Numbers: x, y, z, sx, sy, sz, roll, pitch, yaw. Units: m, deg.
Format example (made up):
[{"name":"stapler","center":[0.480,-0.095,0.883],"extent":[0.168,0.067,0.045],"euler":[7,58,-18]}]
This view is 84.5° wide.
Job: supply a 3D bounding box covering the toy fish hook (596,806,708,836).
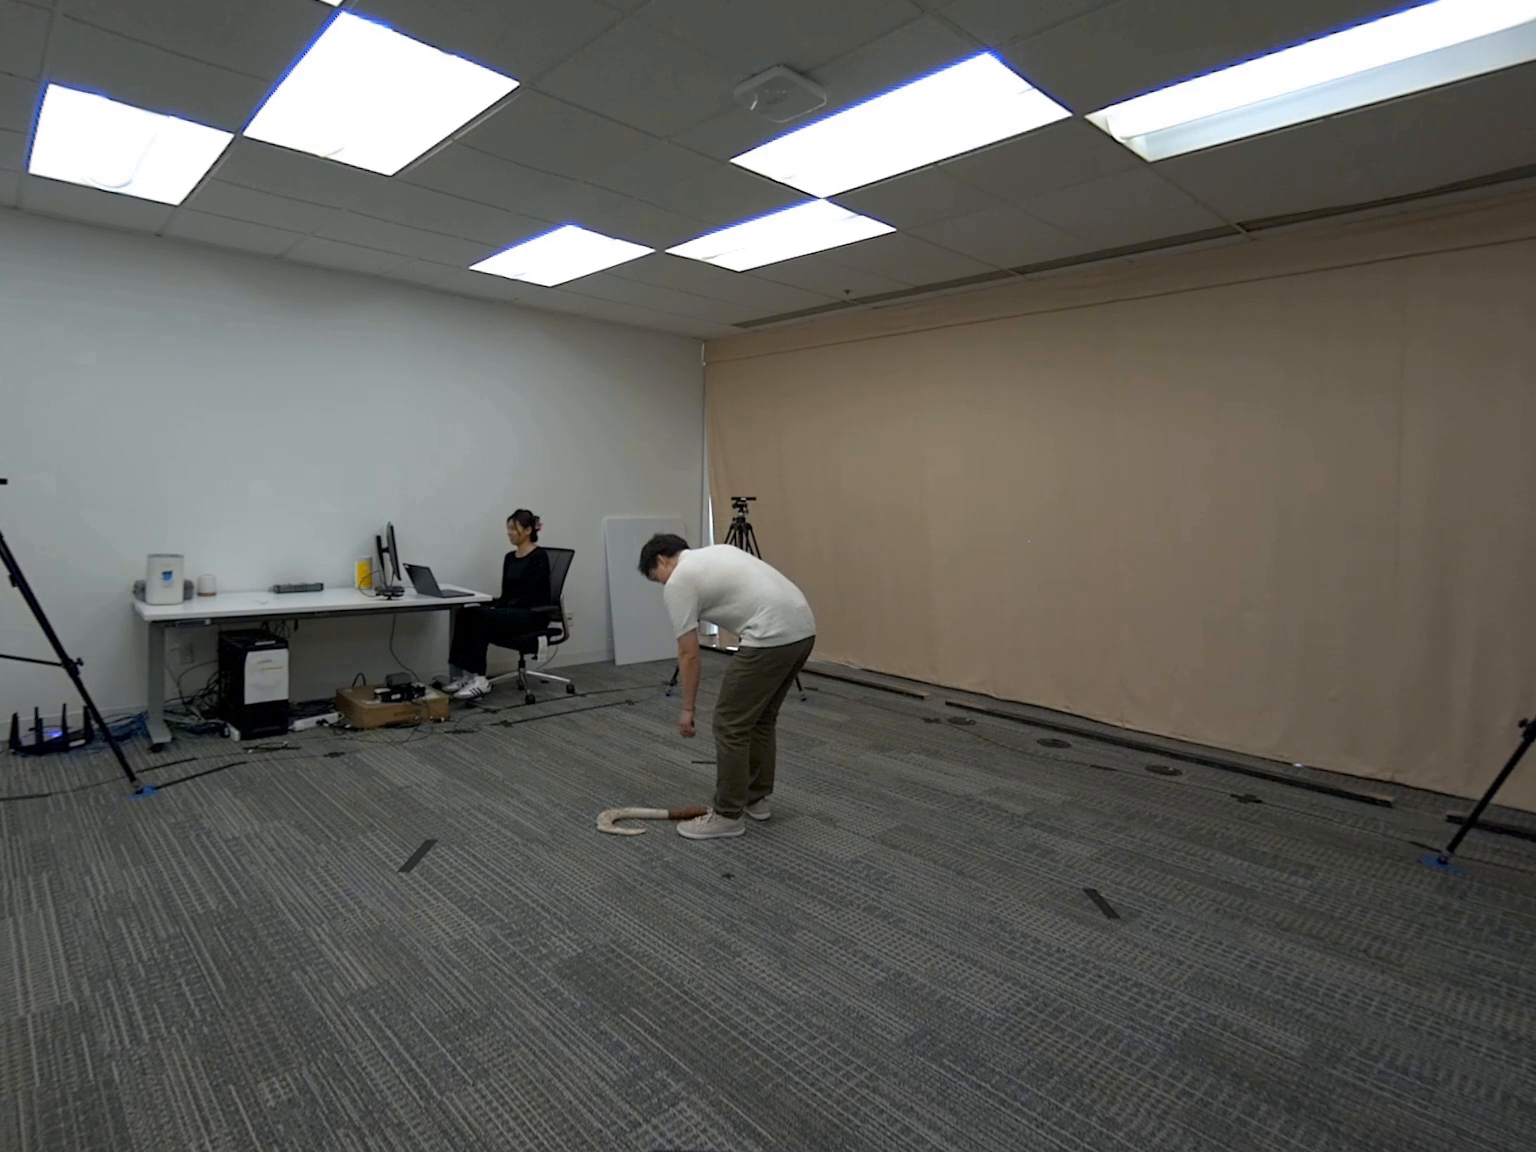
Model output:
[{"name":"toy fish hook","center":[-0.479,1.037,3.577],"extent":[0.502,0.048,0.228],"euler":[-1,13,-12]}]
